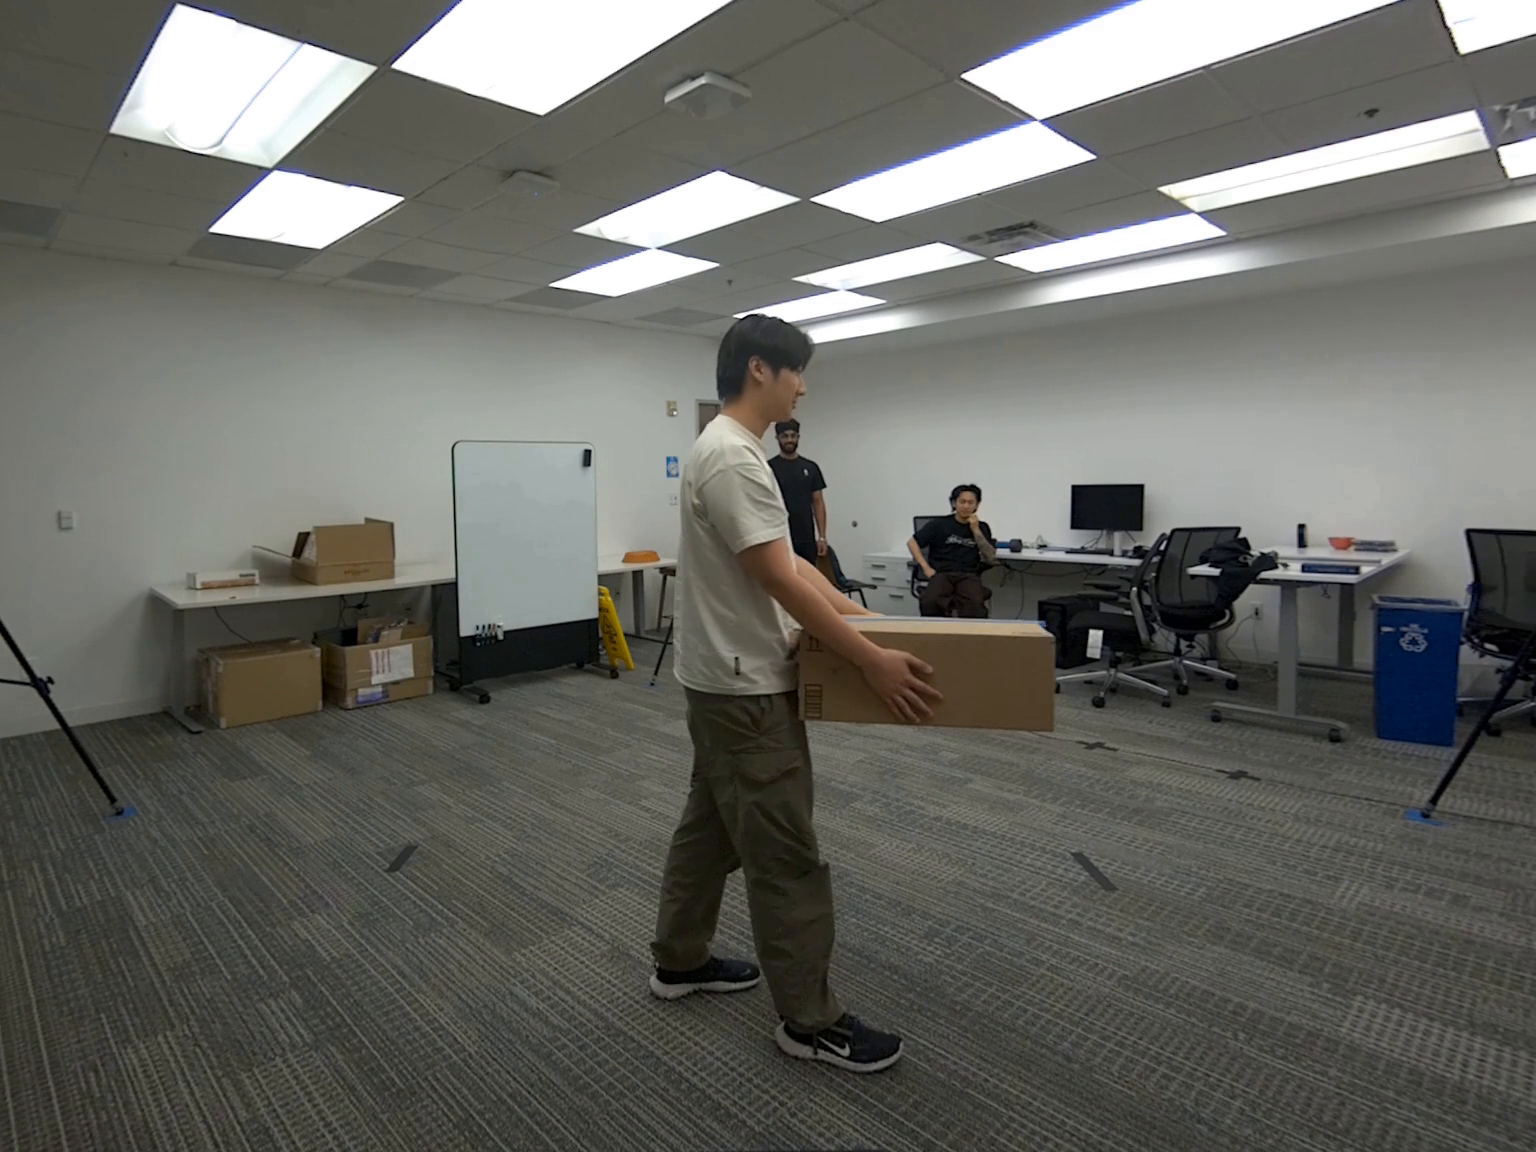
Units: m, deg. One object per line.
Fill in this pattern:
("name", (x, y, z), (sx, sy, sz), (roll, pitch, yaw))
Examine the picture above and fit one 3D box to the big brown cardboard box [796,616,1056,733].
("big brown cardboard box", (0.382, 0.214, 2.137), (0.594, 0.233, 0.414), (0, 2, 8))
